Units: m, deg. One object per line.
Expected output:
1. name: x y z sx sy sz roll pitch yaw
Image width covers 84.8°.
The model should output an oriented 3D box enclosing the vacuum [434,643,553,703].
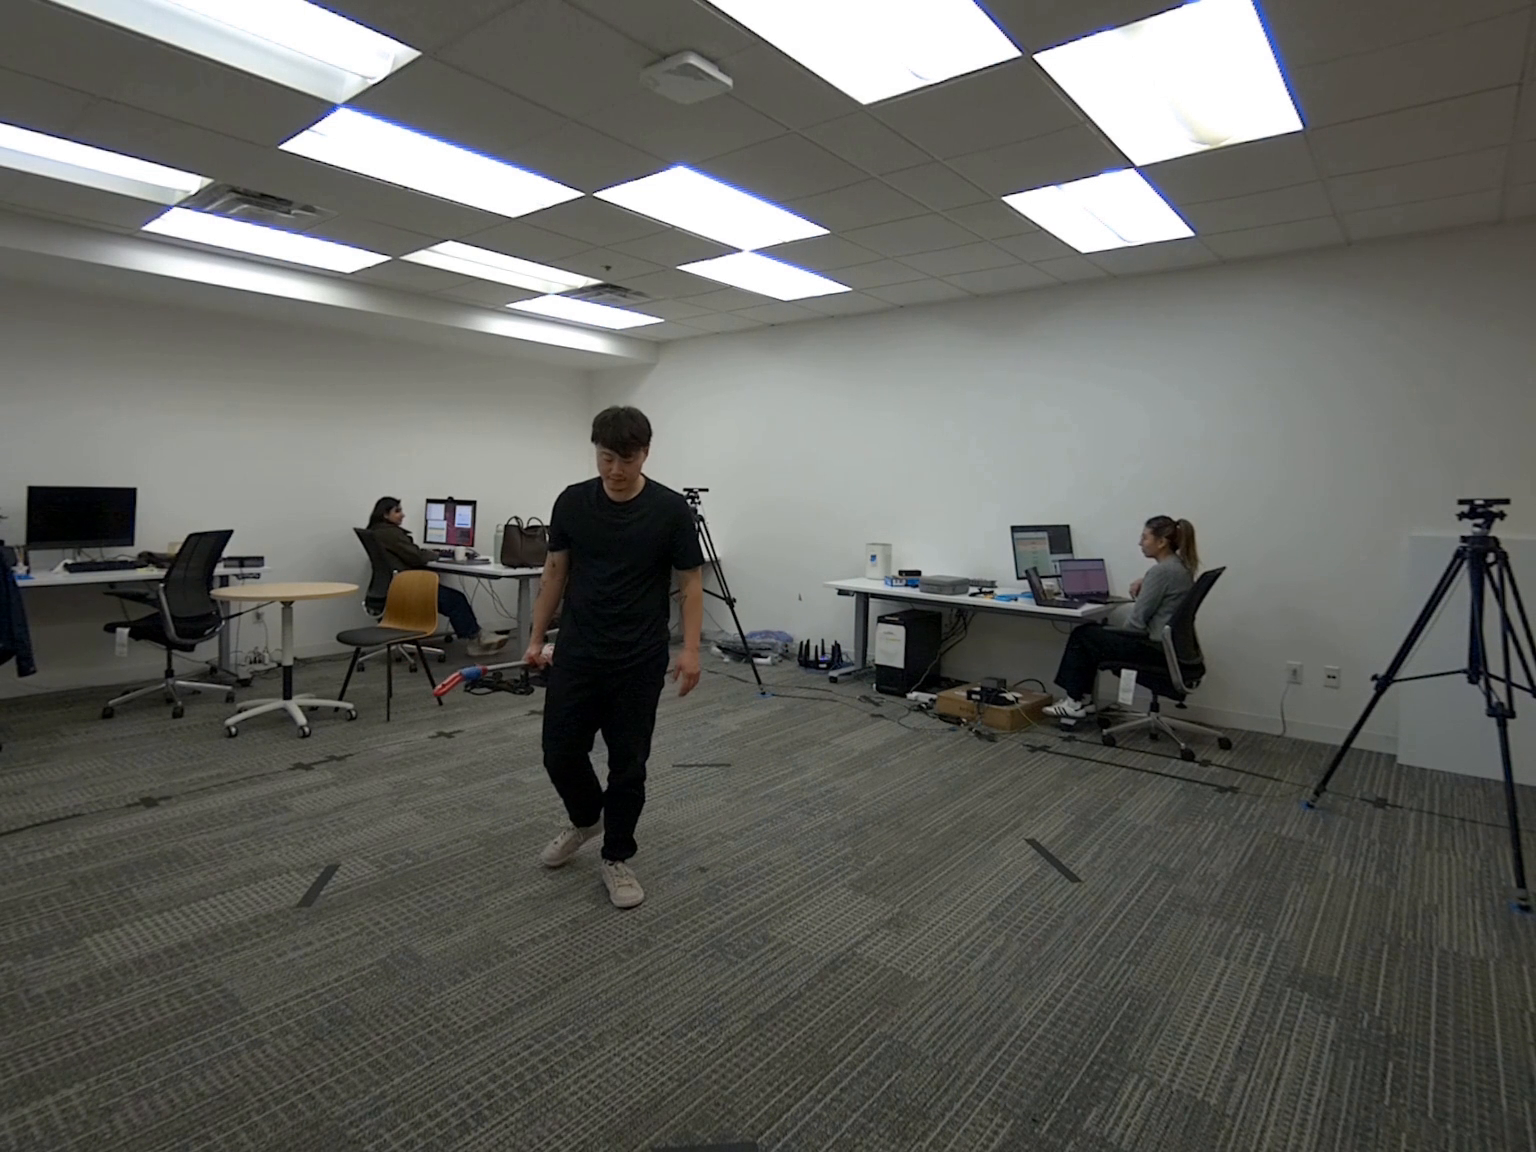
1. vacuum: -0.852 0.340 2.888 0.257 0.144 1.033 18 2 10
